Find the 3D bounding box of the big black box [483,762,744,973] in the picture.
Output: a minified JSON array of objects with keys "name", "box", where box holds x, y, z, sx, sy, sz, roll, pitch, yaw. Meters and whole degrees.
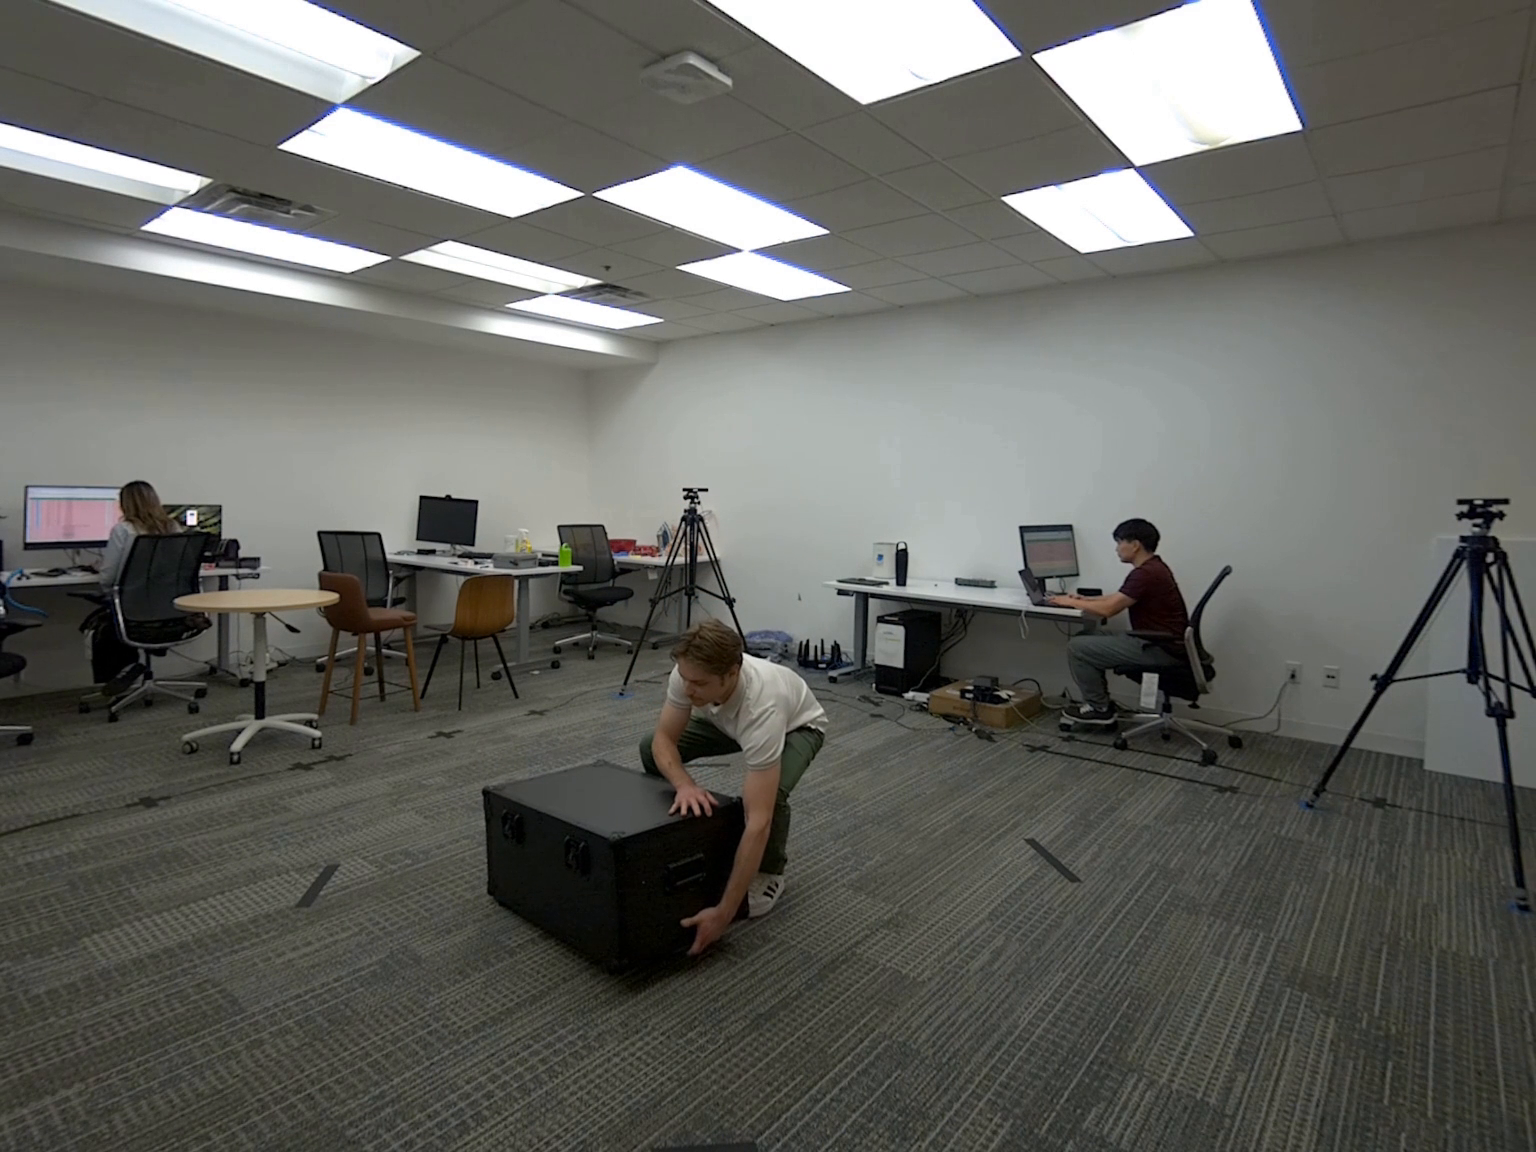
[{"name":"big black box","box":[-0.541,0.881,2.753,0.508,0.385,0.895,-5,3,-42]}]
